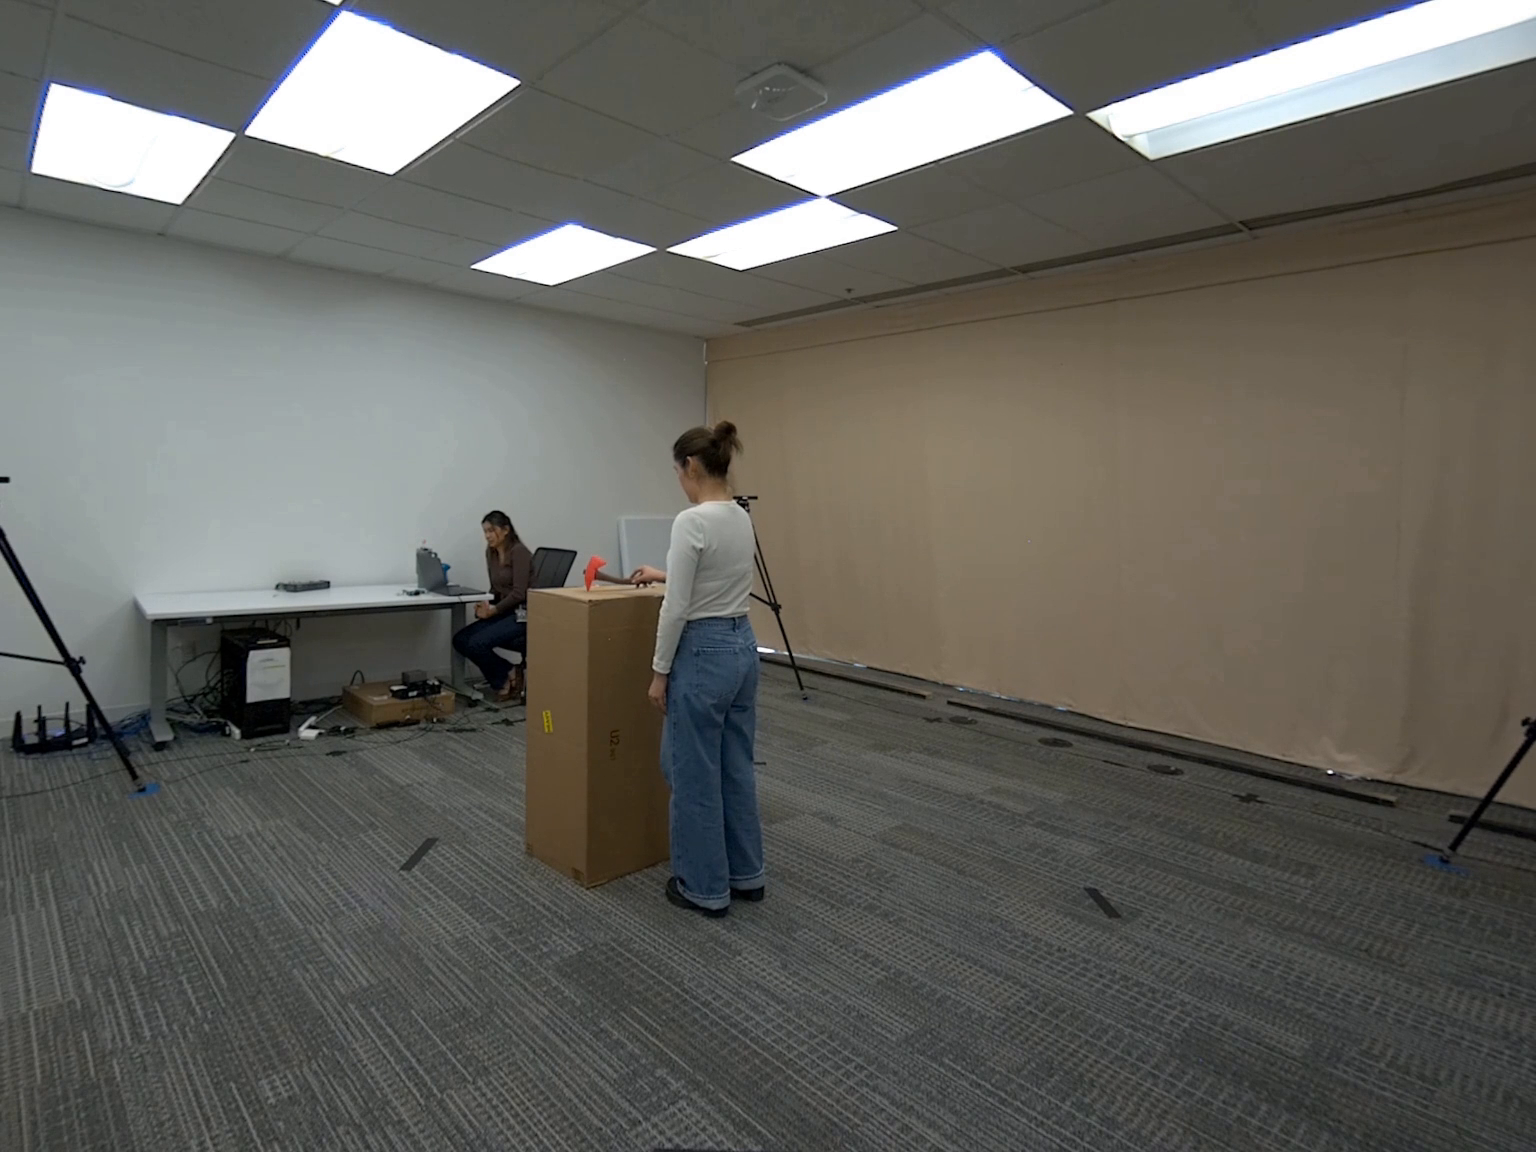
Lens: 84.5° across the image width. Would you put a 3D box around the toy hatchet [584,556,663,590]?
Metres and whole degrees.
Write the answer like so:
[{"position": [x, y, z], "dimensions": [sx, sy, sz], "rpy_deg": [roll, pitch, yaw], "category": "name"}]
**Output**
[{"position": [-0.561, -0.028, 3.149], "dimensions": [0.272, 0.131, 0.029], "rpy_deg": [-6, -5, 11], "category": "toy hatchet"}]
